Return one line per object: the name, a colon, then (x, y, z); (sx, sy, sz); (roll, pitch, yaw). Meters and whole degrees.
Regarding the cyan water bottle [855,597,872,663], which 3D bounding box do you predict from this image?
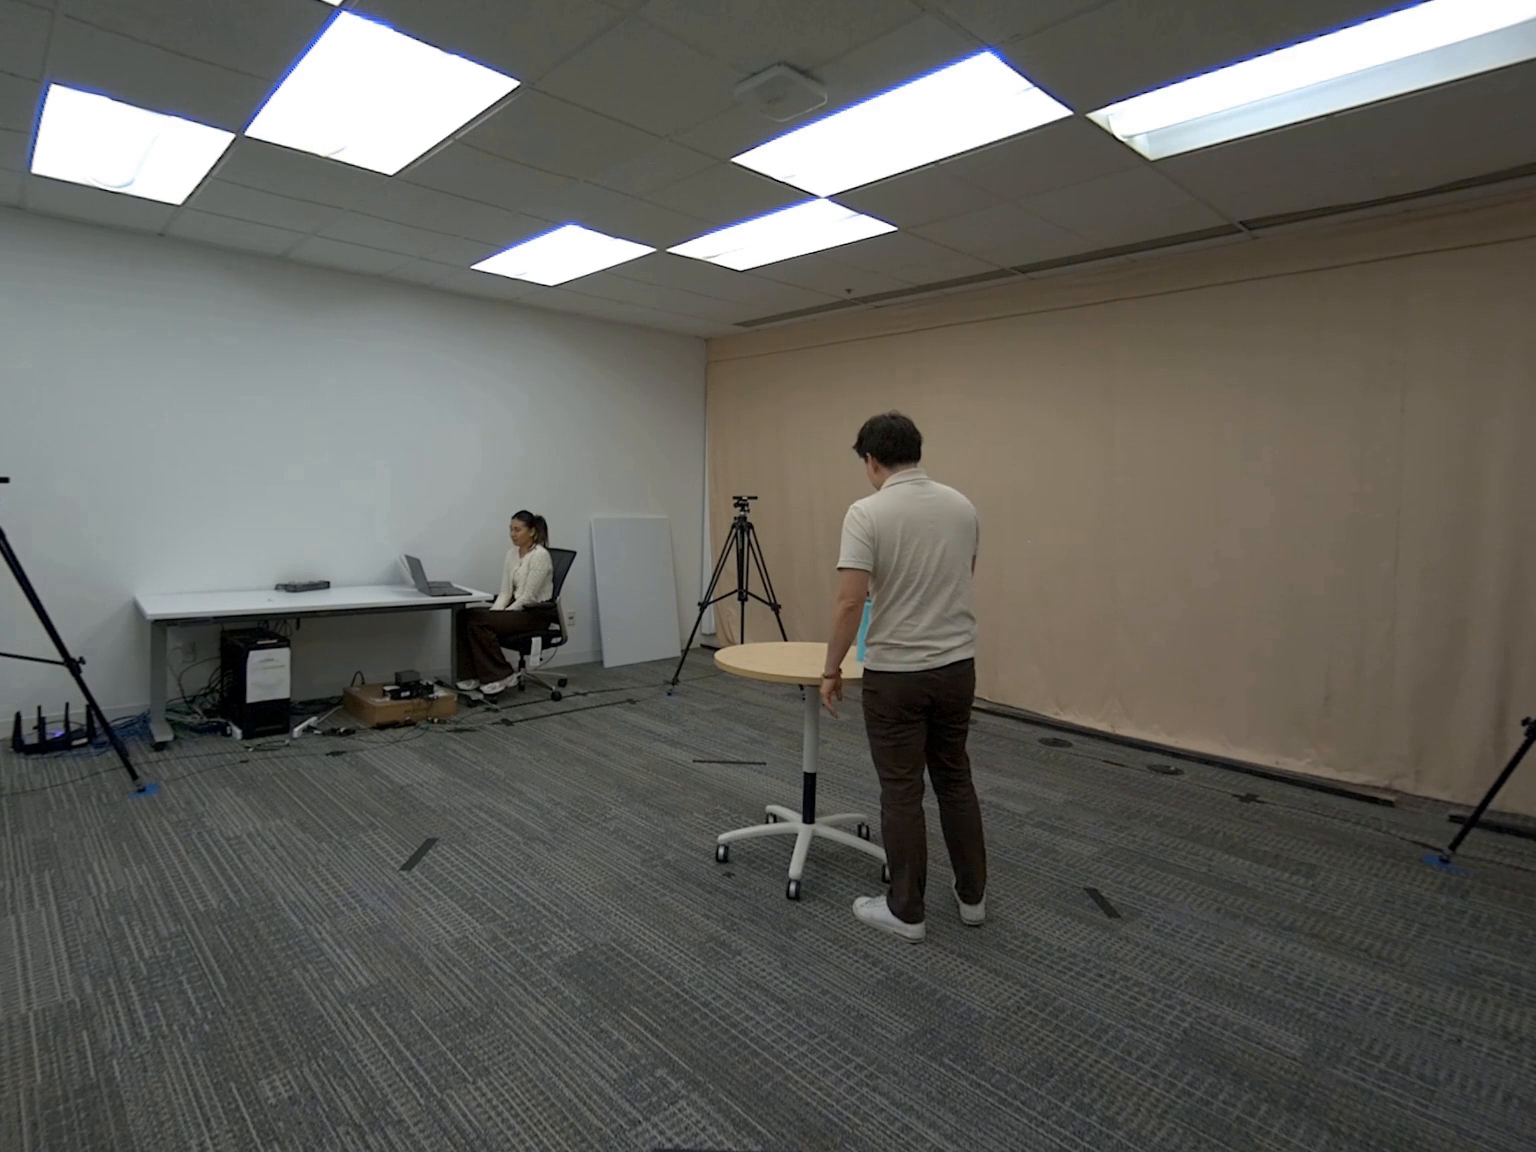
cyan water bottle: (0.391, 0.187, 3.213); (0.092, 0.283, 0.092); (1, 1, -1)
